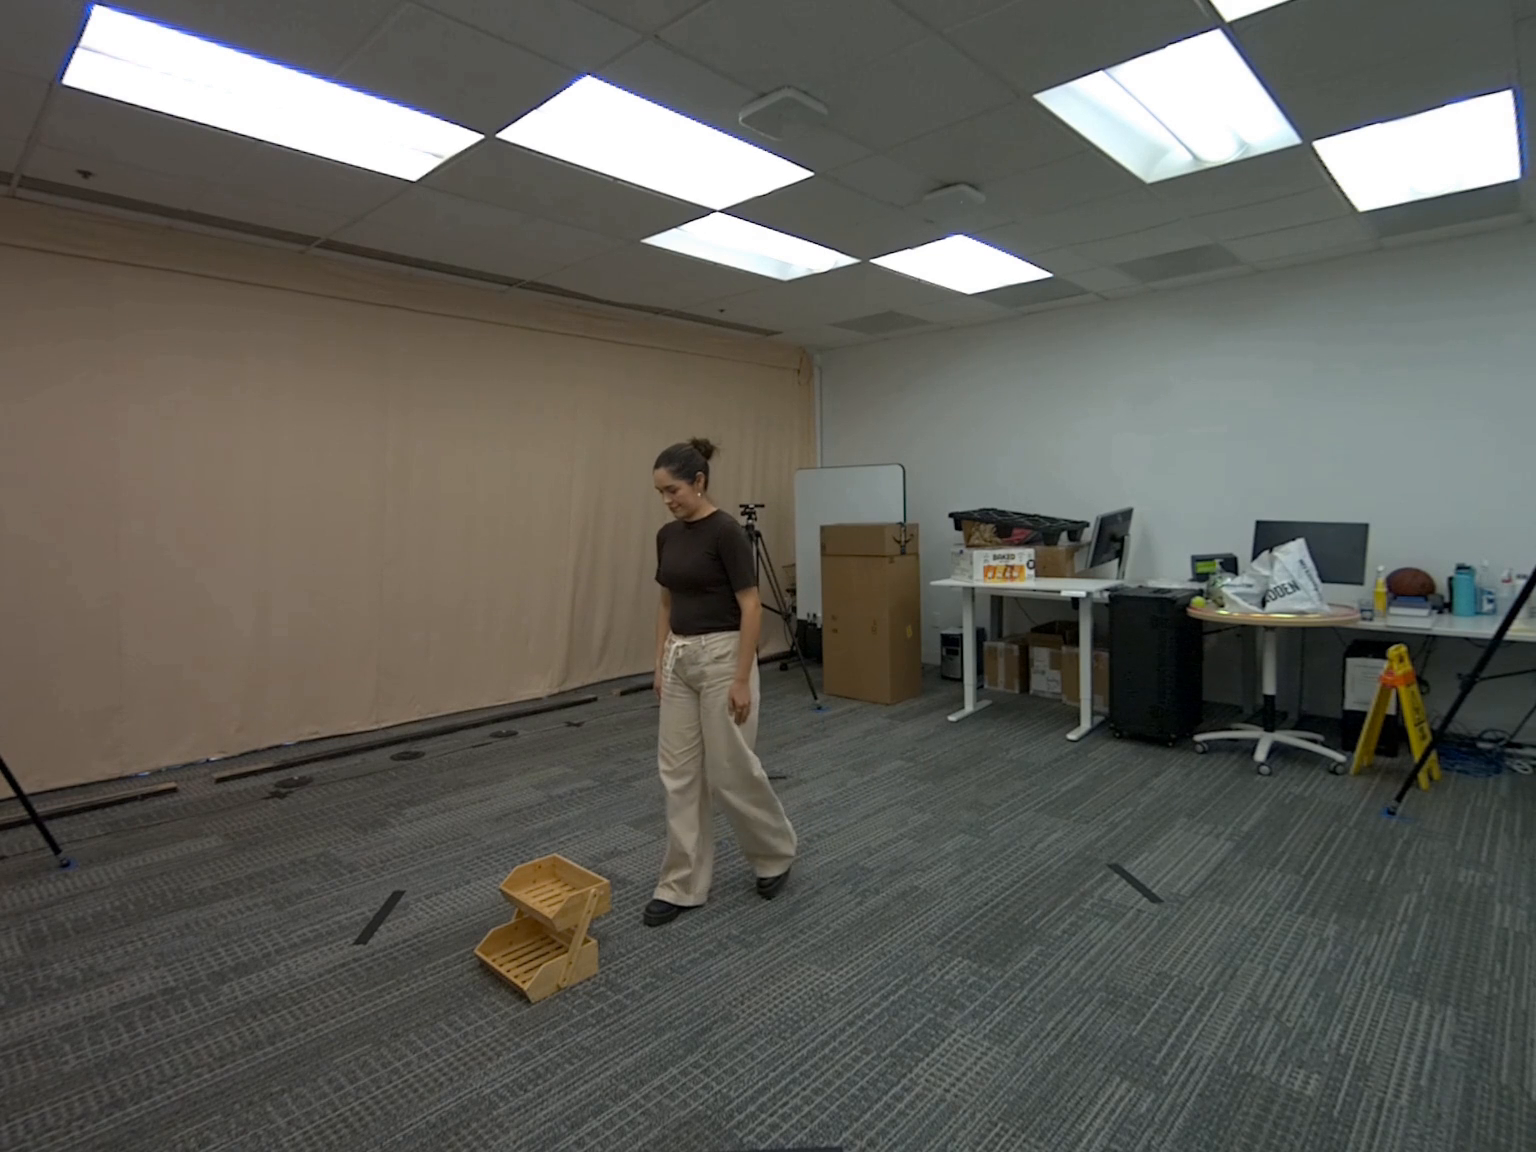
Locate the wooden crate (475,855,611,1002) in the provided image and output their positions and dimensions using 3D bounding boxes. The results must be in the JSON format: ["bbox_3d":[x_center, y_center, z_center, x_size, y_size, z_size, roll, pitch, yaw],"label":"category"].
[{"bbox_3d":[-0.690,1.059,2.560,0.335,0.273,0.293,2,4,44],"label":"wooden crate"}]
